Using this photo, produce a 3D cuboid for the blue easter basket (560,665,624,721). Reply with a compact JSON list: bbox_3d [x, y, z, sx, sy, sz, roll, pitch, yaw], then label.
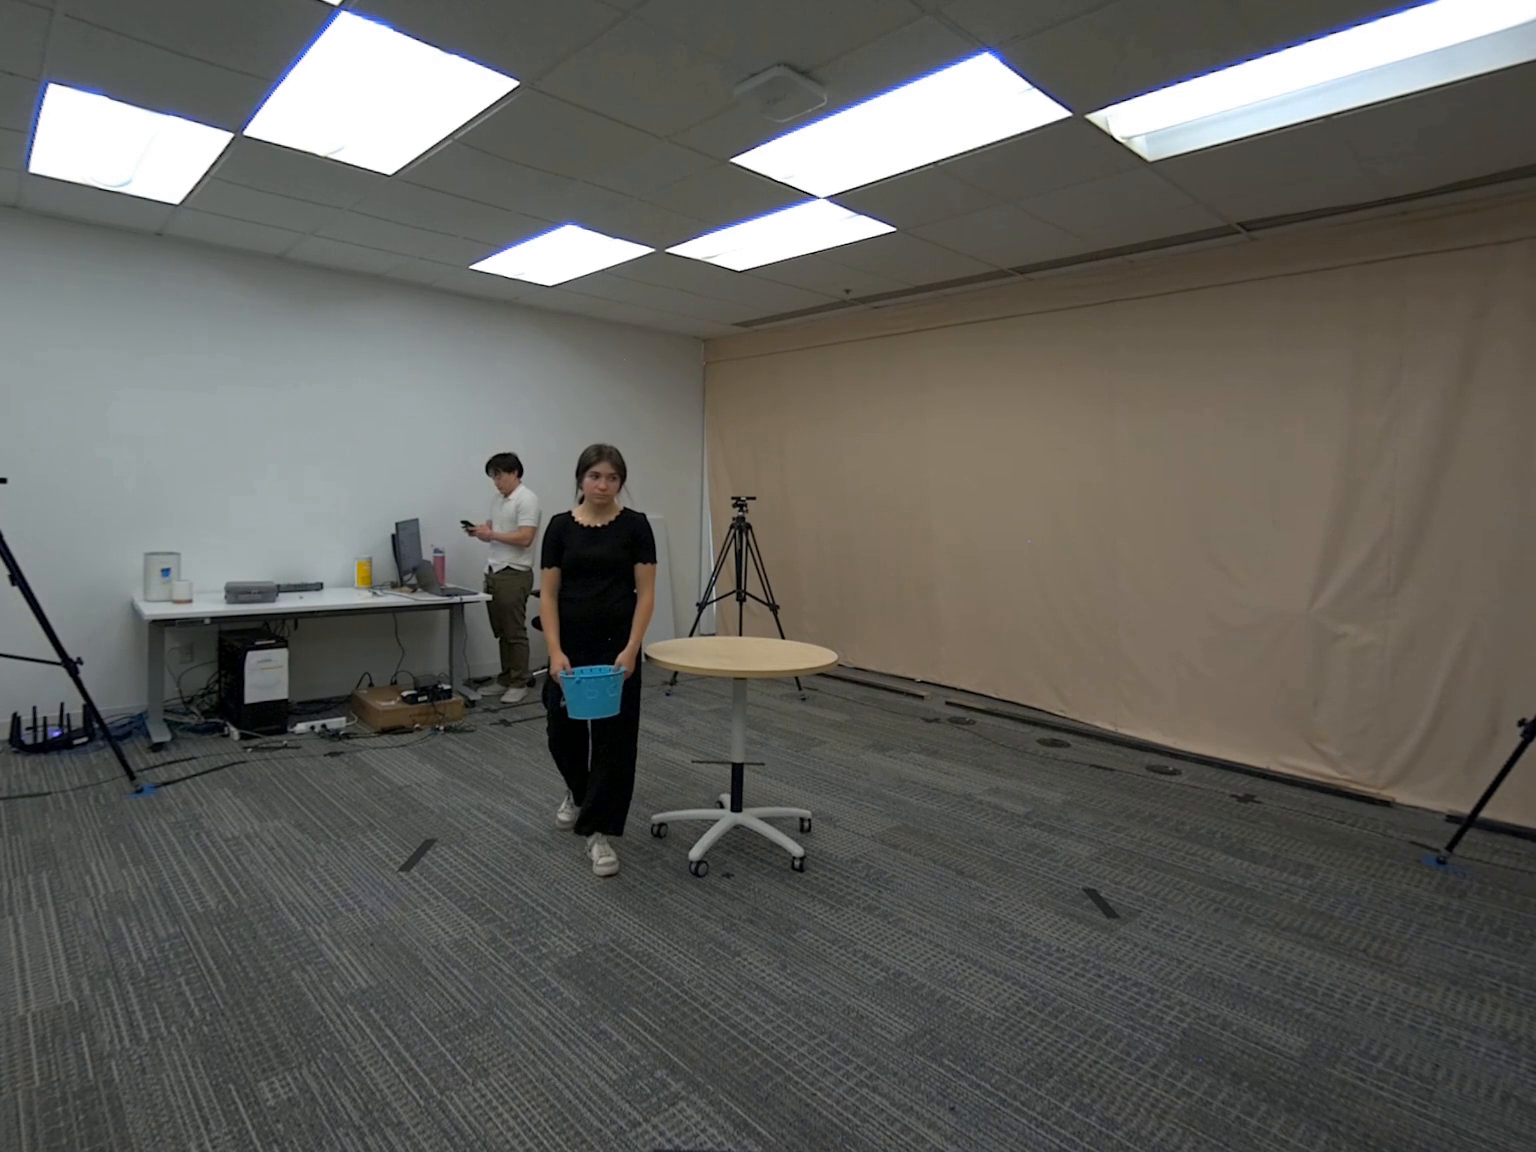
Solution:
[{"bbox_3d":[-0.653,0.416,2.991,0.243,0.156,0.244,-3,2,-1],"label":"blue easter basket"}]
